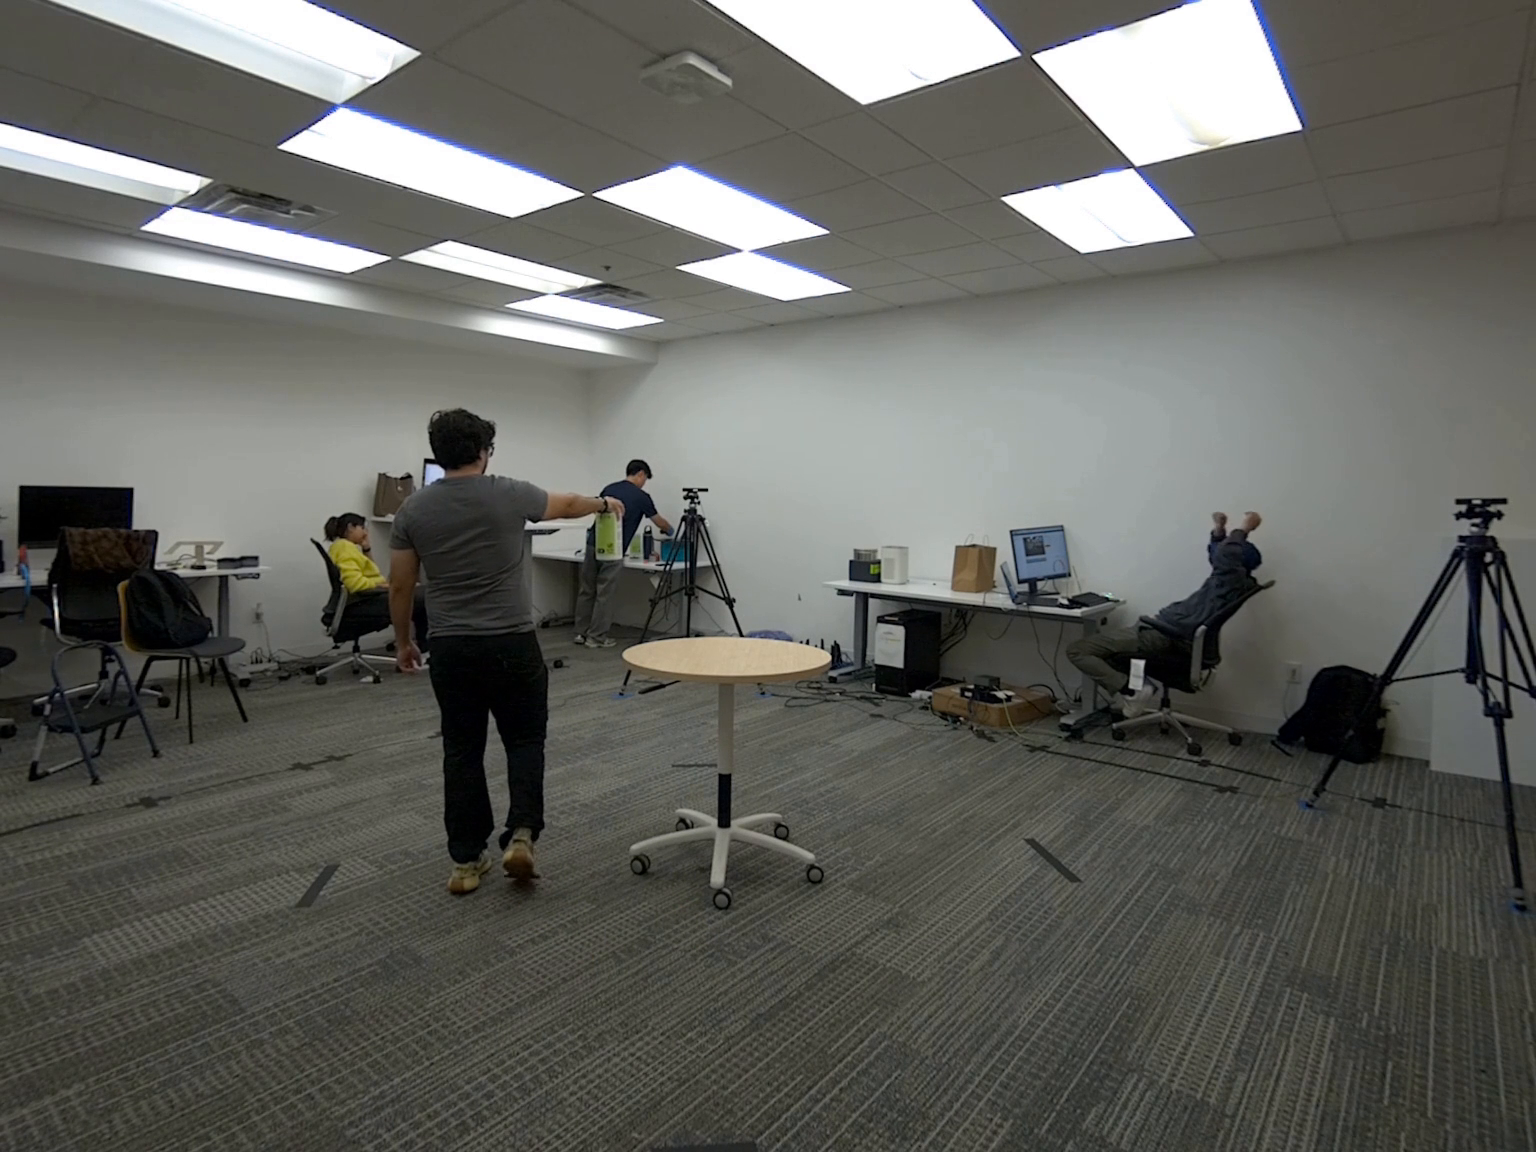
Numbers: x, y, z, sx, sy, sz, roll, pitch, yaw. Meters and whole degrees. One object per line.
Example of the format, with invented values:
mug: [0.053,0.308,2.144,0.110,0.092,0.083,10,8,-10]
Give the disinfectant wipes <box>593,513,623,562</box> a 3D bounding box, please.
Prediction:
disinfectant wipes: [-0.678,-0.180,3.525,0.118,0.217,0.118,0,3,-2]
